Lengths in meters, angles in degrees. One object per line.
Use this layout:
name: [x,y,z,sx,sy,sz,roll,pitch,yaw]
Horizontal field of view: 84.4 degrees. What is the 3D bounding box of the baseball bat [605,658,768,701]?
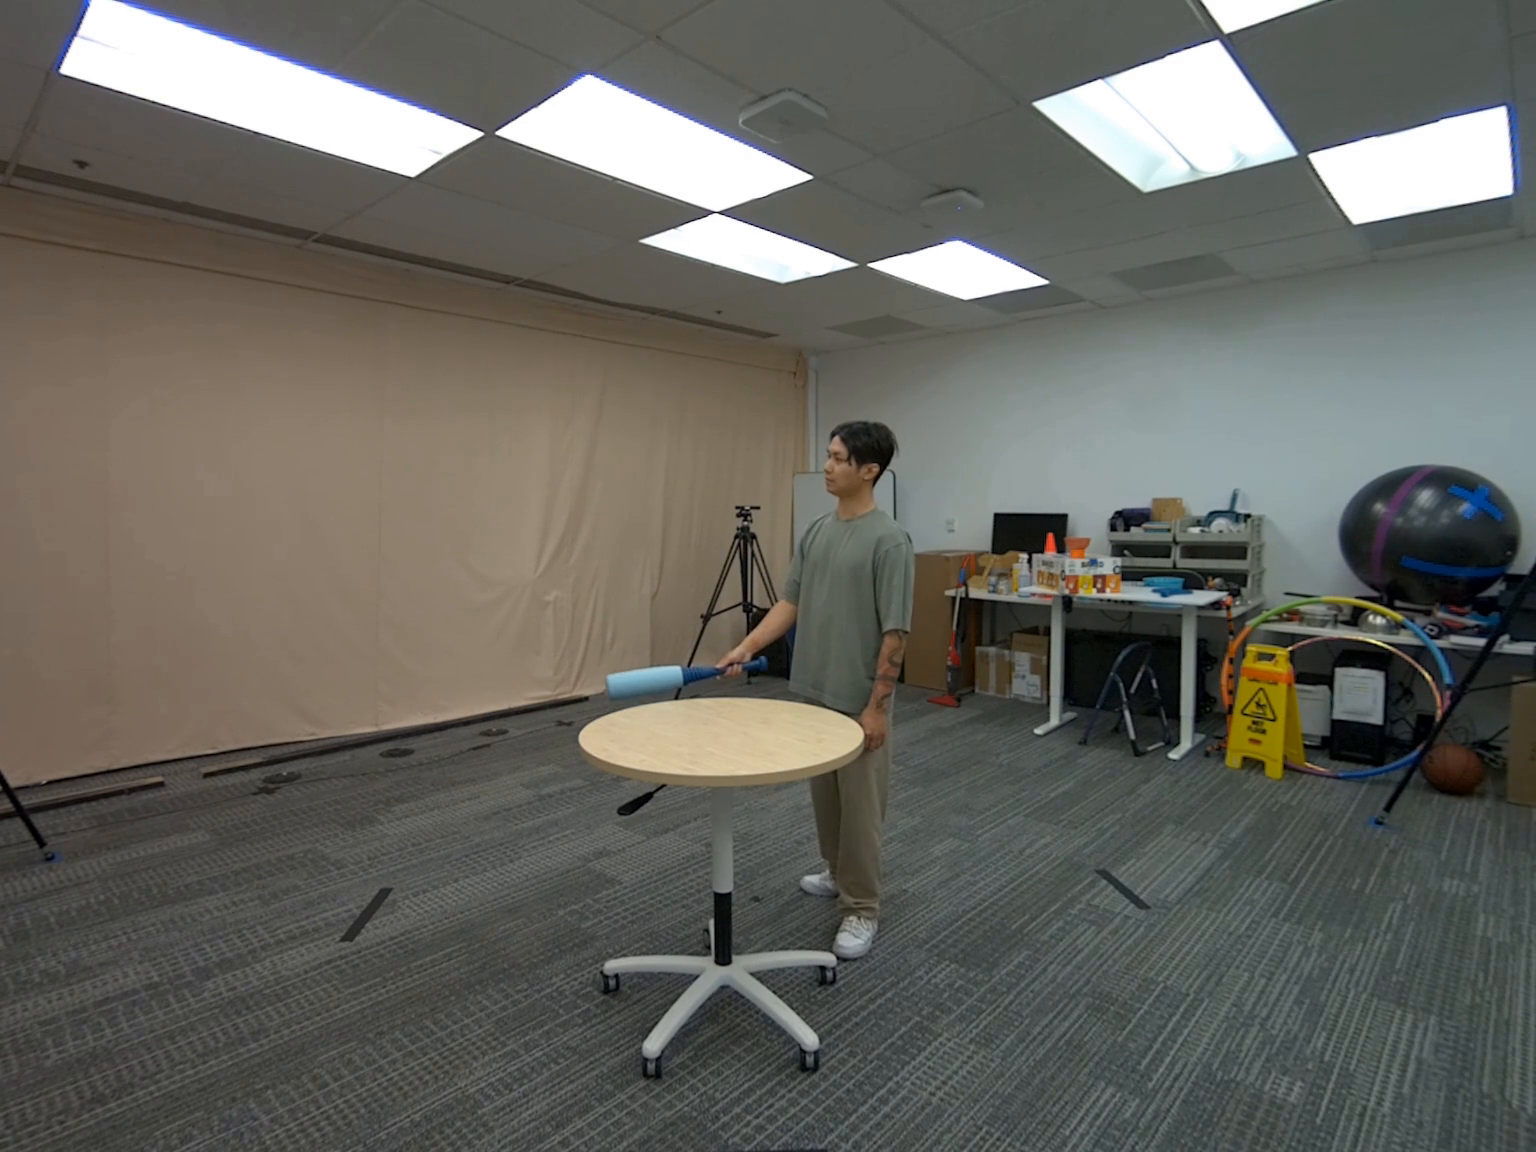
baseball bat: [-0.263,0.325,2.778,0.536,0.089,0.090,-7,5,-12]
